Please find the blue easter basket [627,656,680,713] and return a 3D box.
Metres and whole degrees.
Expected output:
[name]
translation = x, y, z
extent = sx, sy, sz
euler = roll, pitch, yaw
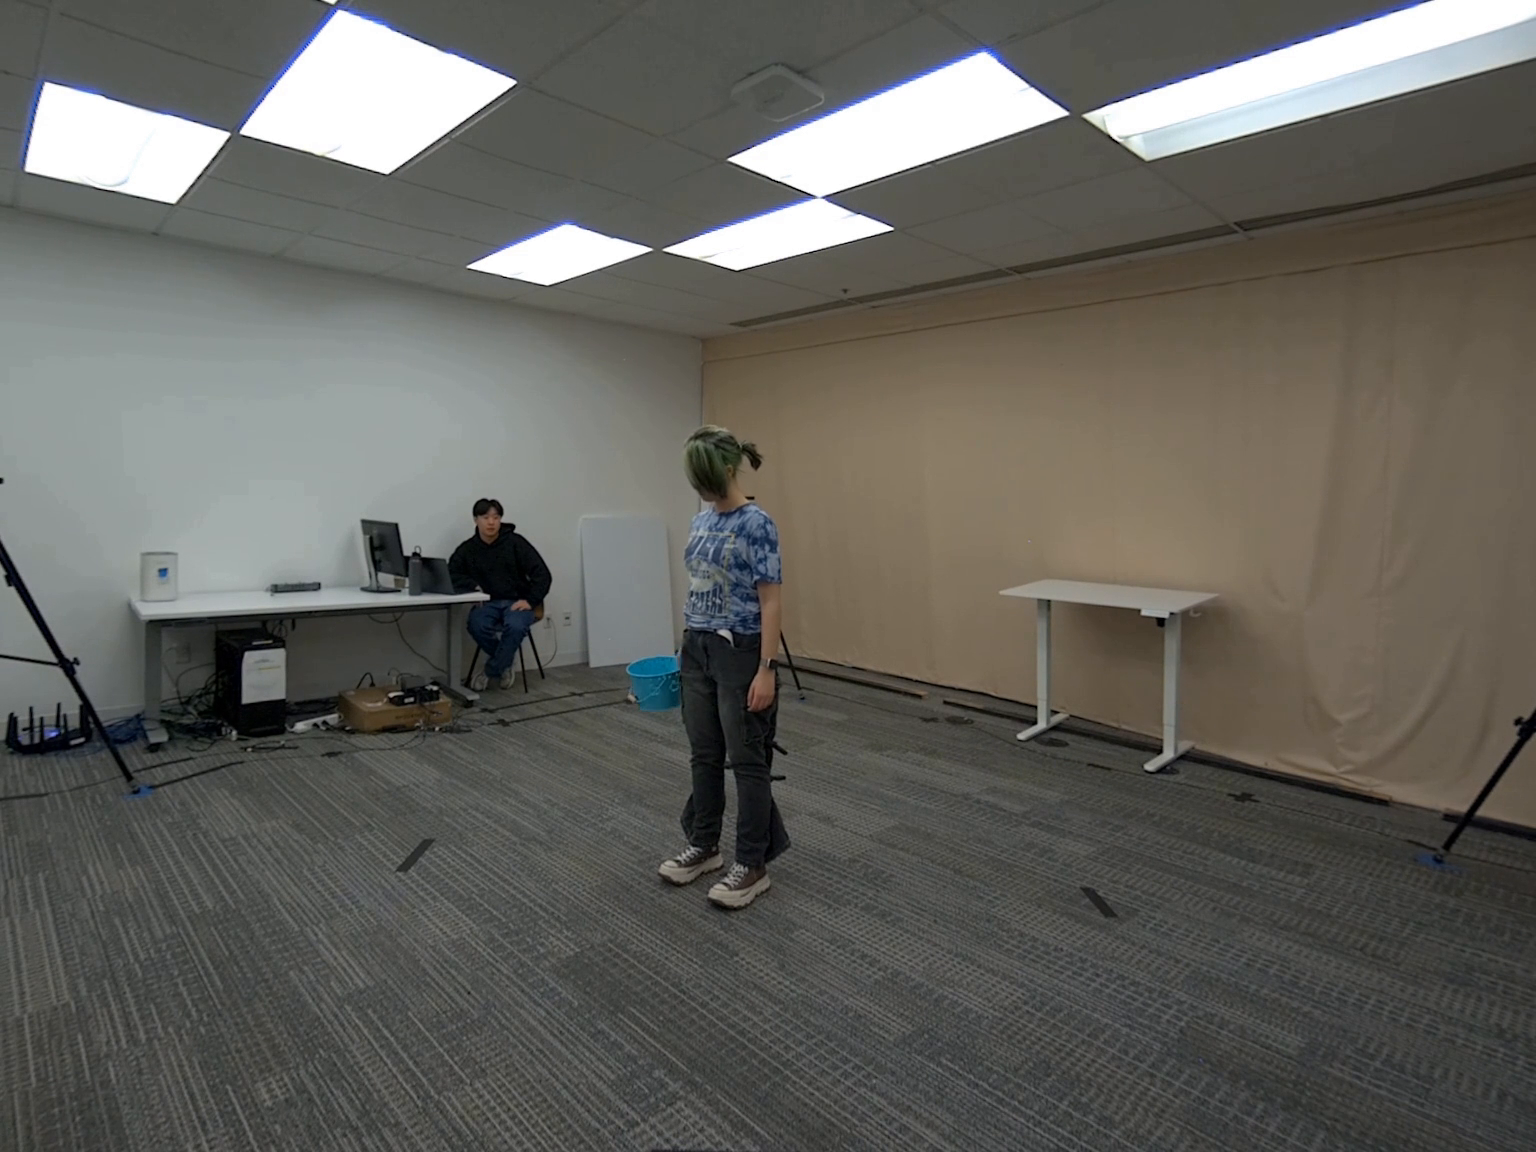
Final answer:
[blue easter basket]
translation = -0.440, 0.417, 3.282
extent = 0.243, 0.154, 0.246
euler = -4, 12, -1
